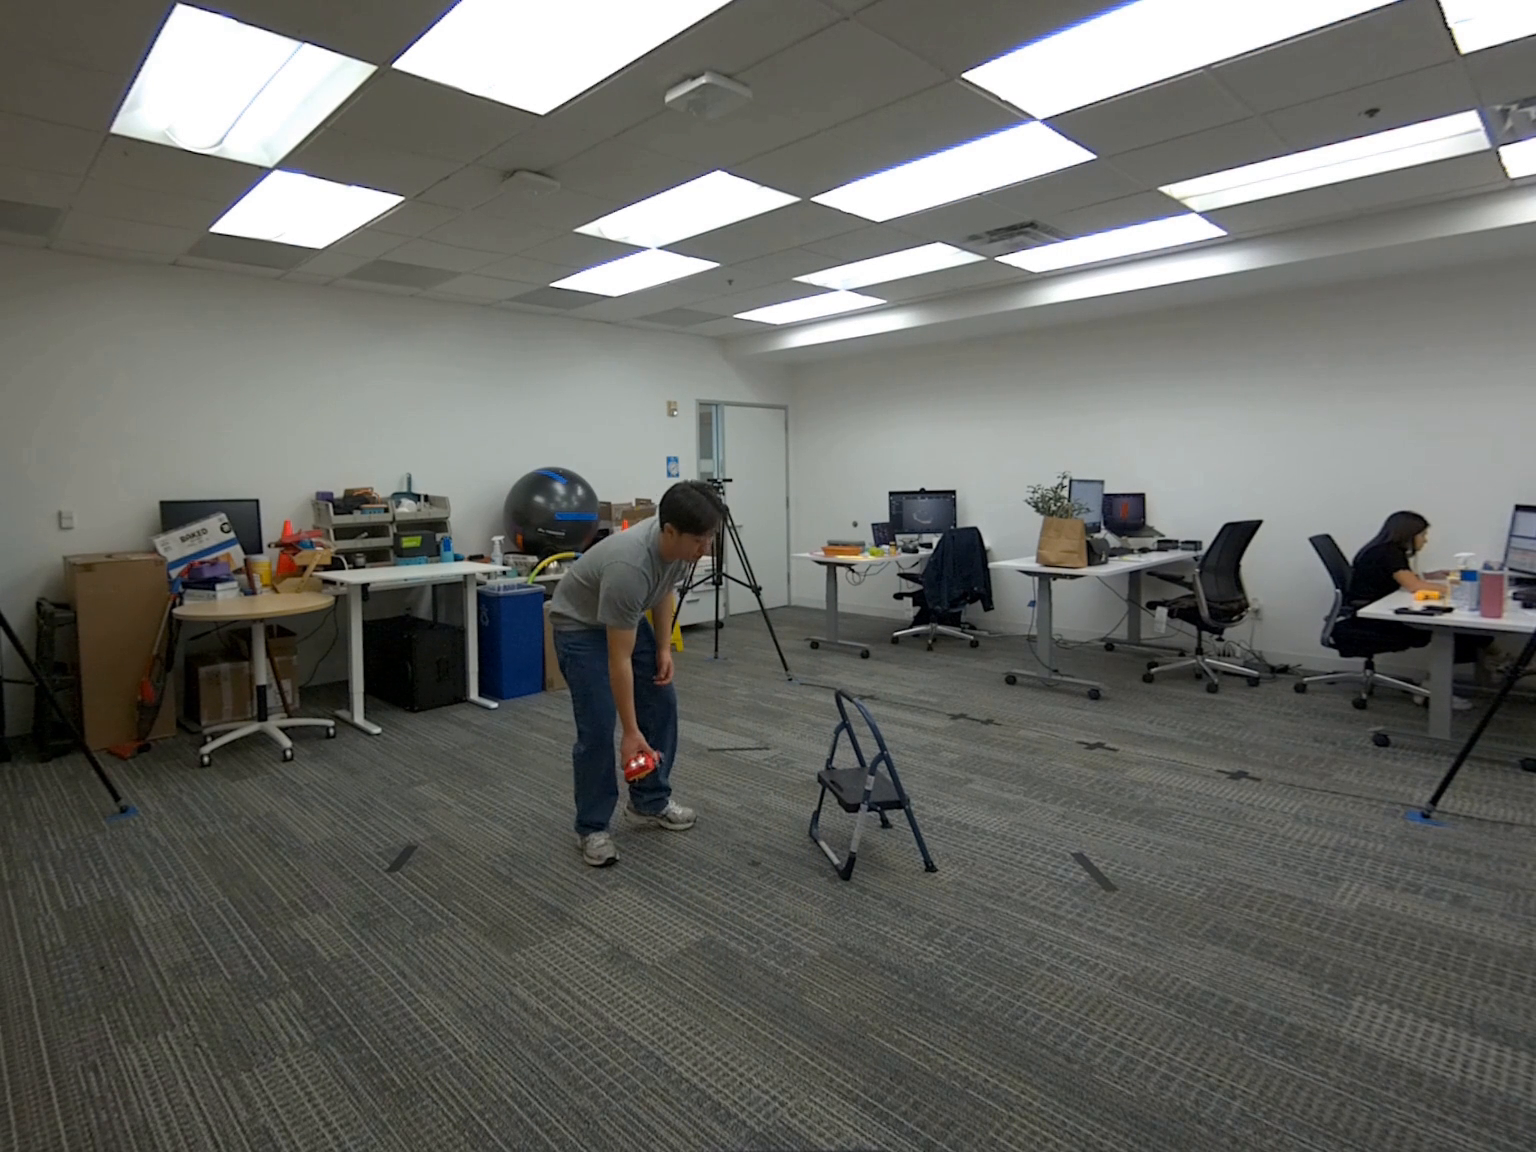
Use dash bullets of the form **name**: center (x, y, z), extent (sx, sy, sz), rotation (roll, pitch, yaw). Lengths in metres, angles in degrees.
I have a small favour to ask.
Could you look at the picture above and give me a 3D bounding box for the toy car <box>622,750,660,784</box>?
- **toy car**: center (-0.436, 0.680, 2.973), extent (0.130, 0.085, 0.249), rotation (-25, -14, 3)
